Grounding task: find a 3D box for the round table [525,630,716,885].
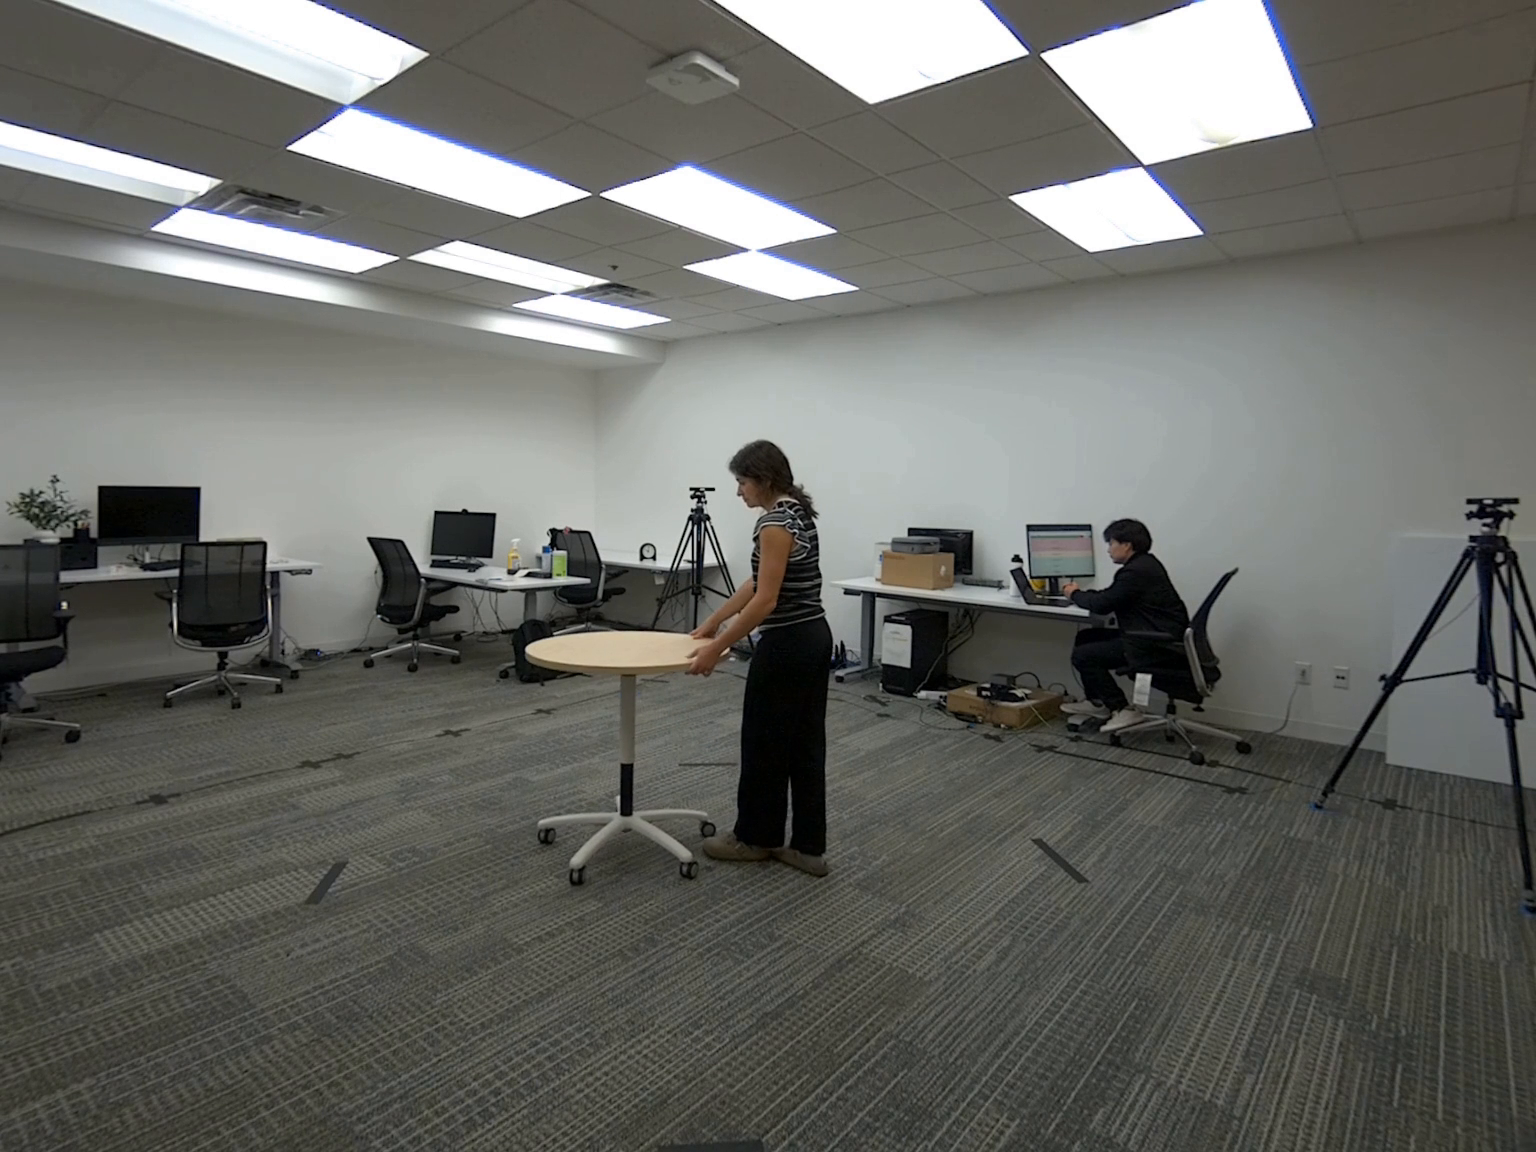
[{"bbox_3d":[-0.560,0.654,3.245,0.784,0.784,0.789,1,4,-2],"label":"round table"}]
